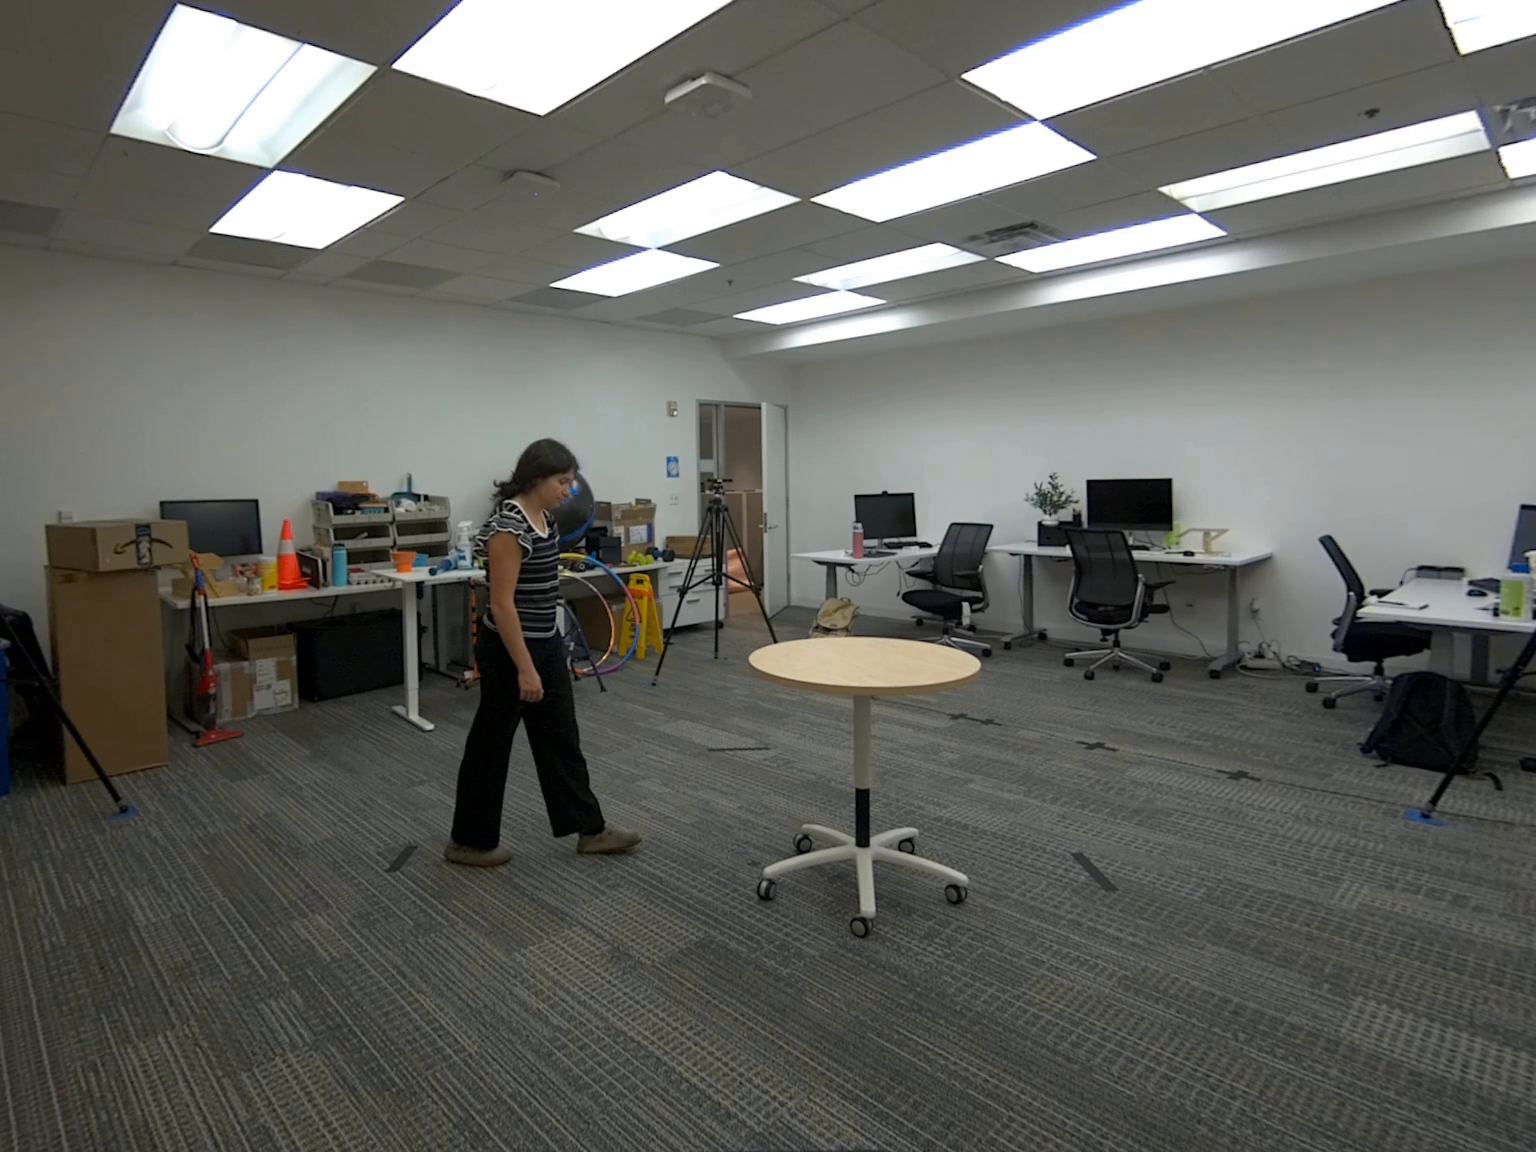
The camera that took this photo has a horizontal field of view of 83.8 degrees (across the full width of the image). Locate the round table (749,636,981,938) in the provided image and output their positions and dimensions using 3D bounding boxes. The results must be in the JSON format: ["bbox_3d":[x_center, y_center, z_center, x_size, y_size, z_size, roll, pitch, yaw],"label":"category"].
[{"bbox_3d":[0.314,0.669,2.899,0.763,0.791,0.768,-1,5,-2],"label":"round table"}]
